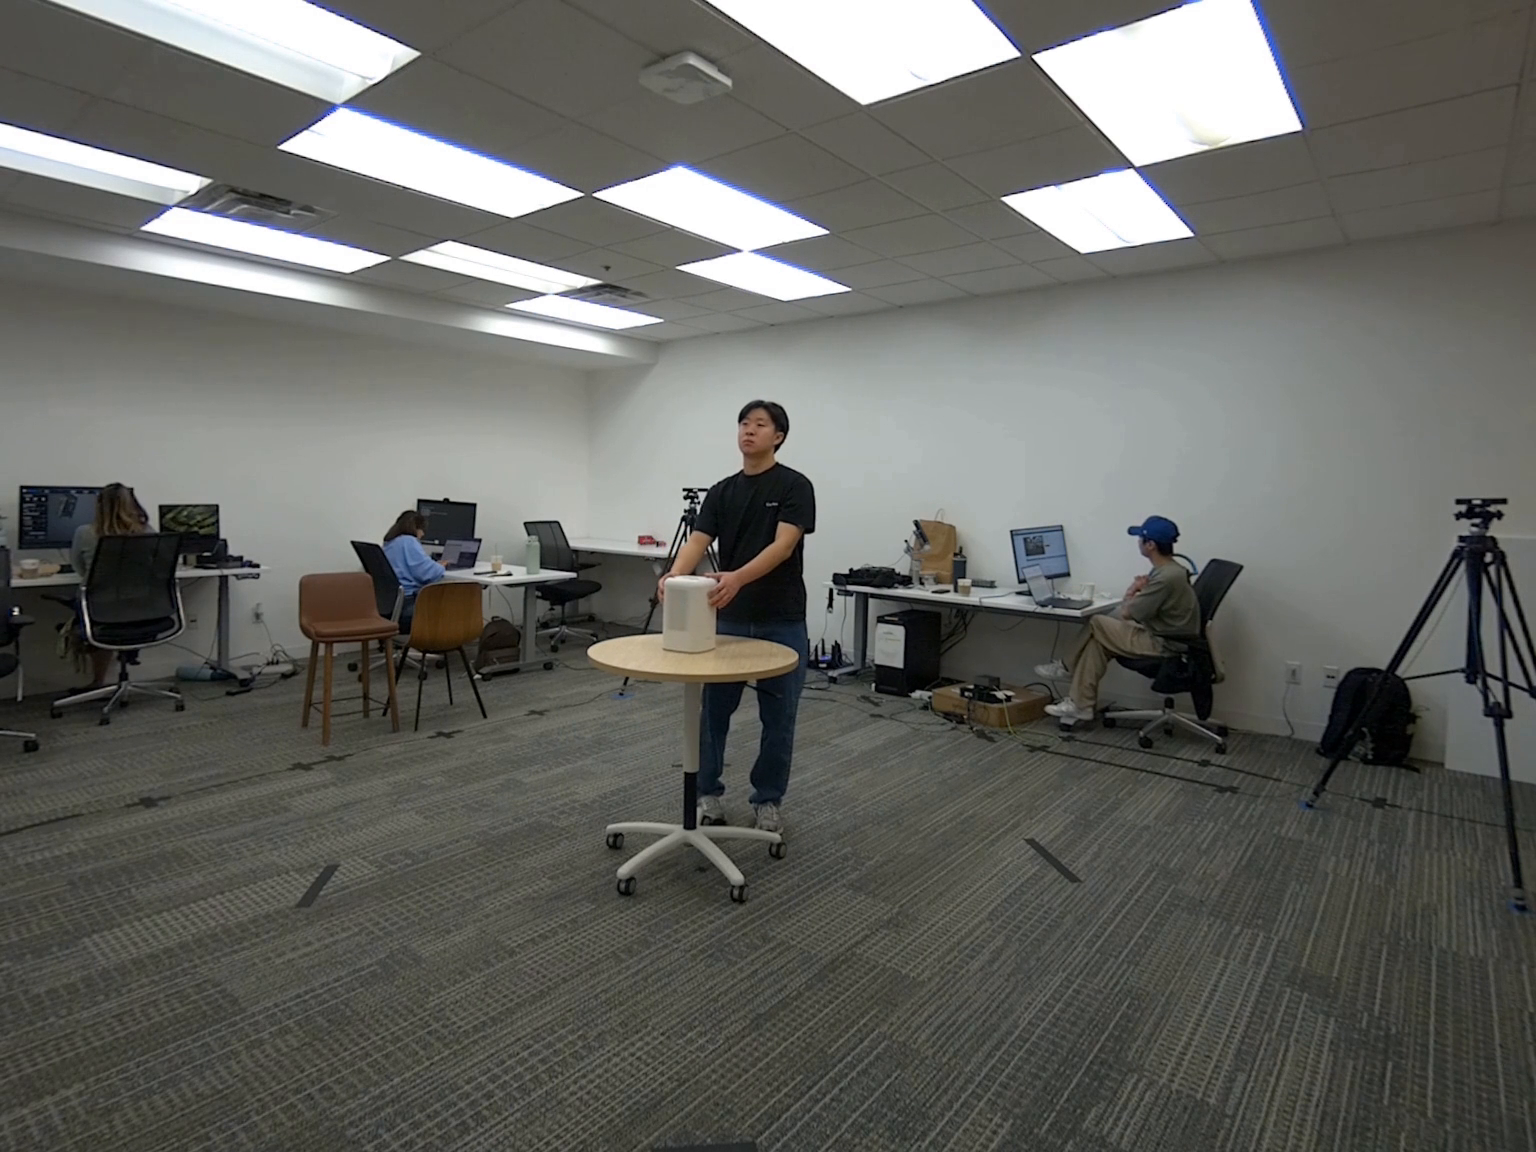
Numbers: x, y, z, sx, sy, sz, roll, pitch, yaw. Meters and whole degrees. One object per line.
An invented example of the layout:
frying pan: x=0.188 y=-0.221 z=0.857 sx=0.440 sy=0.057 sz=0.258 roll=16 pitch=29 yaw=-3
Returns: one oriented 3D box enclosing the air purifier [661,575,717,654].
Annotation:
air purifier: x=-0.304 y=0.135 z=3.152 sx=0.177 sy=0.265 sz=0.166 roll=2 pitch=4 yaw=31
